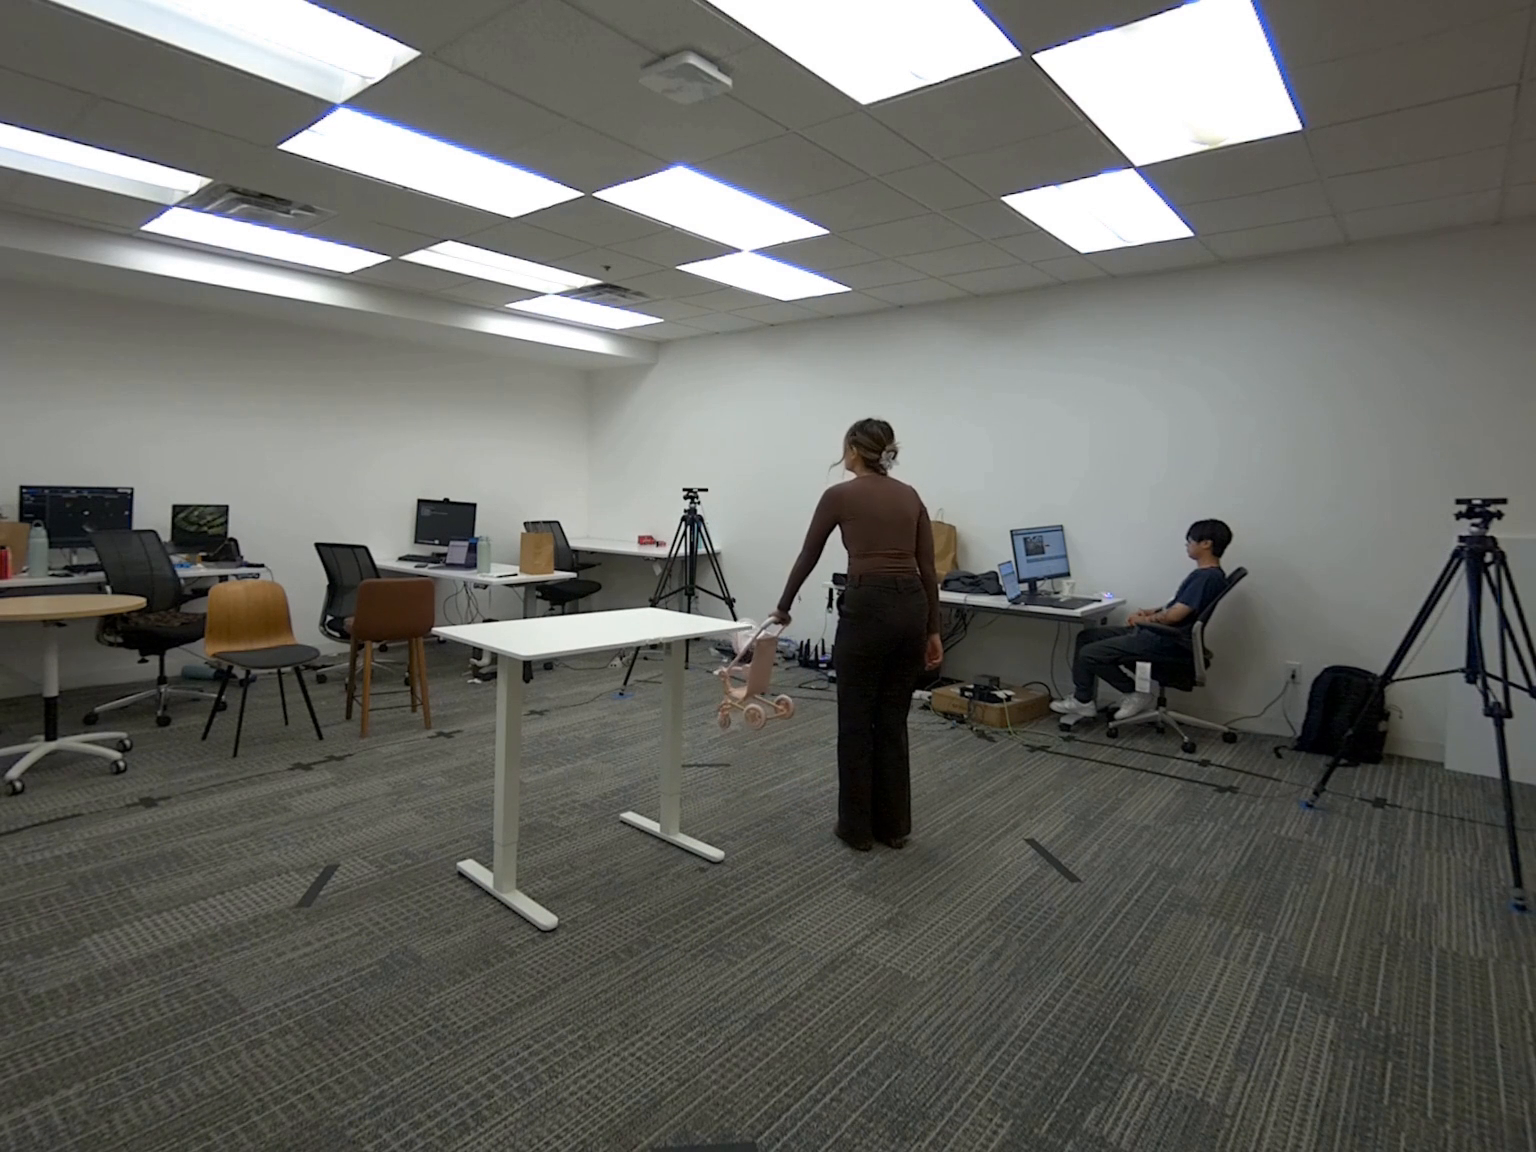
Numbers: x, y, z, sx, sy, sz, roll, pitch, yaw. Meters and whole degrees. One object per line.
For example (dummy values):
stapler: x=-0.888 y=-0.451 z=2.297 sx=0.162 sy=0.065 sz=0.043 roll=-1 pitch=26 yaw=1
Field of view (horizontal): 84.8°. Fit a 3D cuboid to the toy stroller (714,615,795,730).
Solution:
toy stroller: x=-0.088 y=0.428 z=3.750 sx=0.352 sy=0.534 sz=0.273 roll=4 pitch=3 yaw=38
